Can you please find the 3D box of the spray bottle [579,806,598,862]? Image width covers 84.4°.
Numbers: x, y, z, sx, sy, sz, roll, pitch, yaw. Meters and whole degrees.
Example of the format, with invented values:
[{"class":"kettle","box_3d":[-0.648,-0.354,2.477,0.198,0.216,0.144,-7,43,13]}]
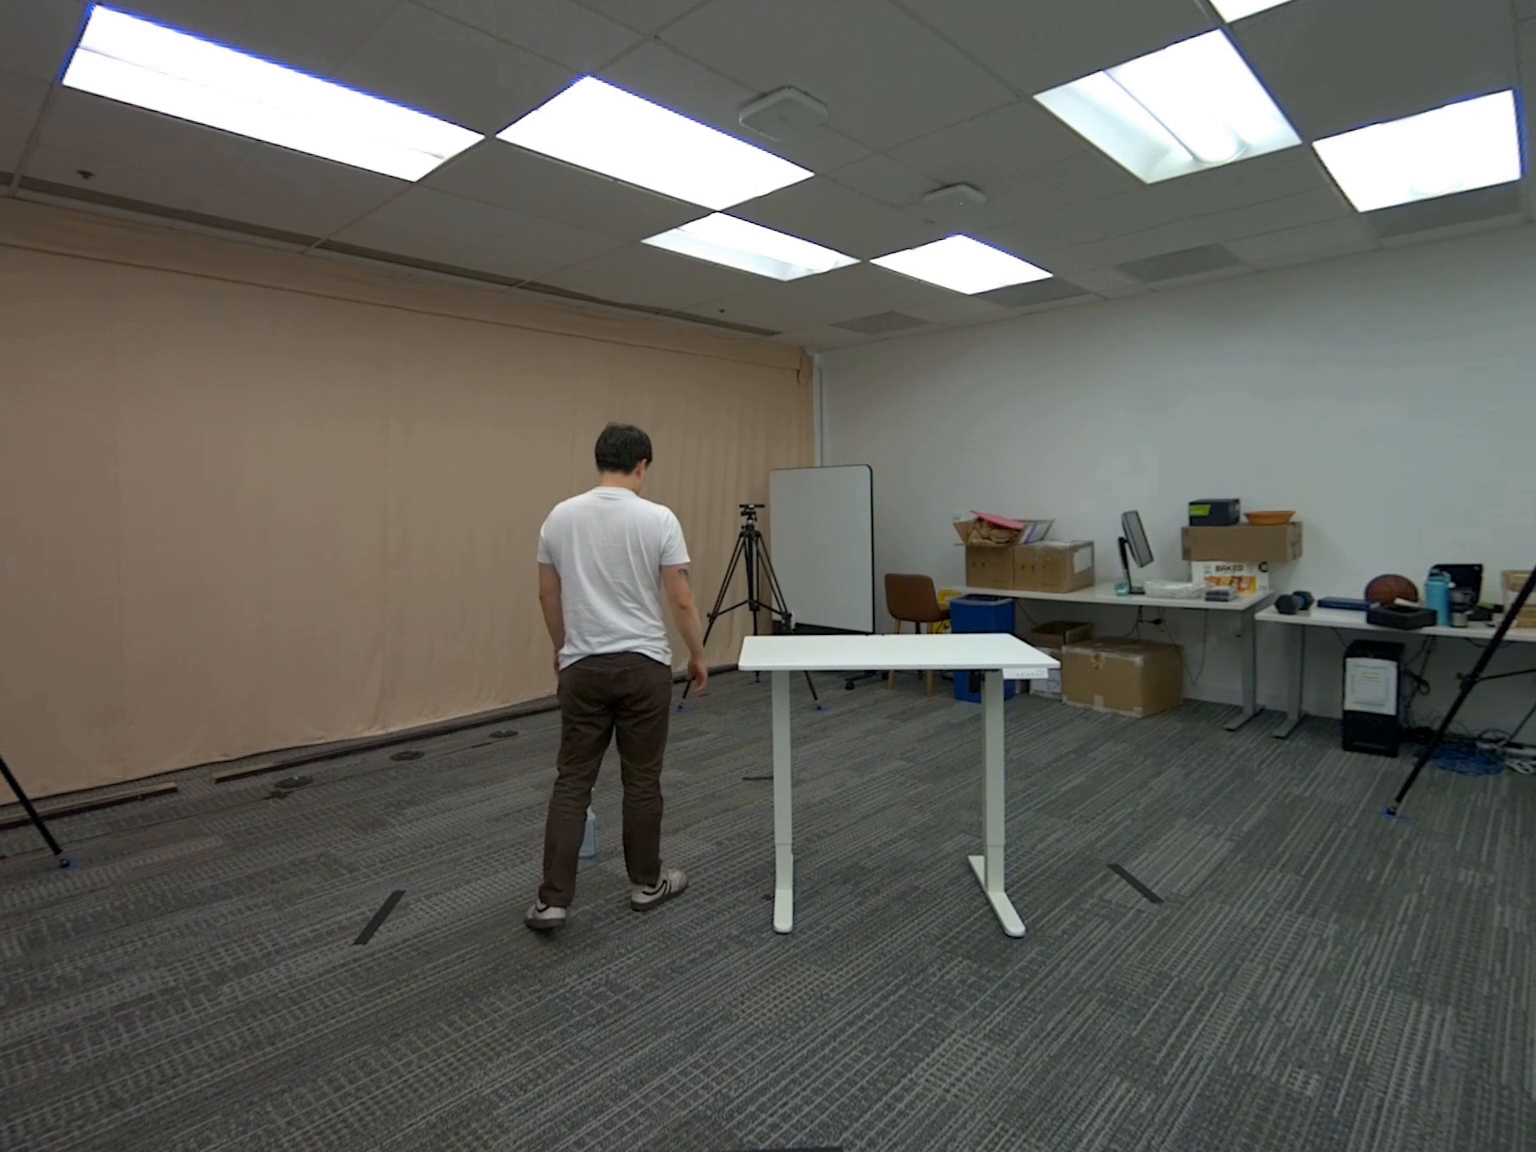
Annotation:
[{"class":"spray bottle","box_3d":[-0.737,0.987,3.390,0.092,0.297,0.085,-3,-1,24]}]
